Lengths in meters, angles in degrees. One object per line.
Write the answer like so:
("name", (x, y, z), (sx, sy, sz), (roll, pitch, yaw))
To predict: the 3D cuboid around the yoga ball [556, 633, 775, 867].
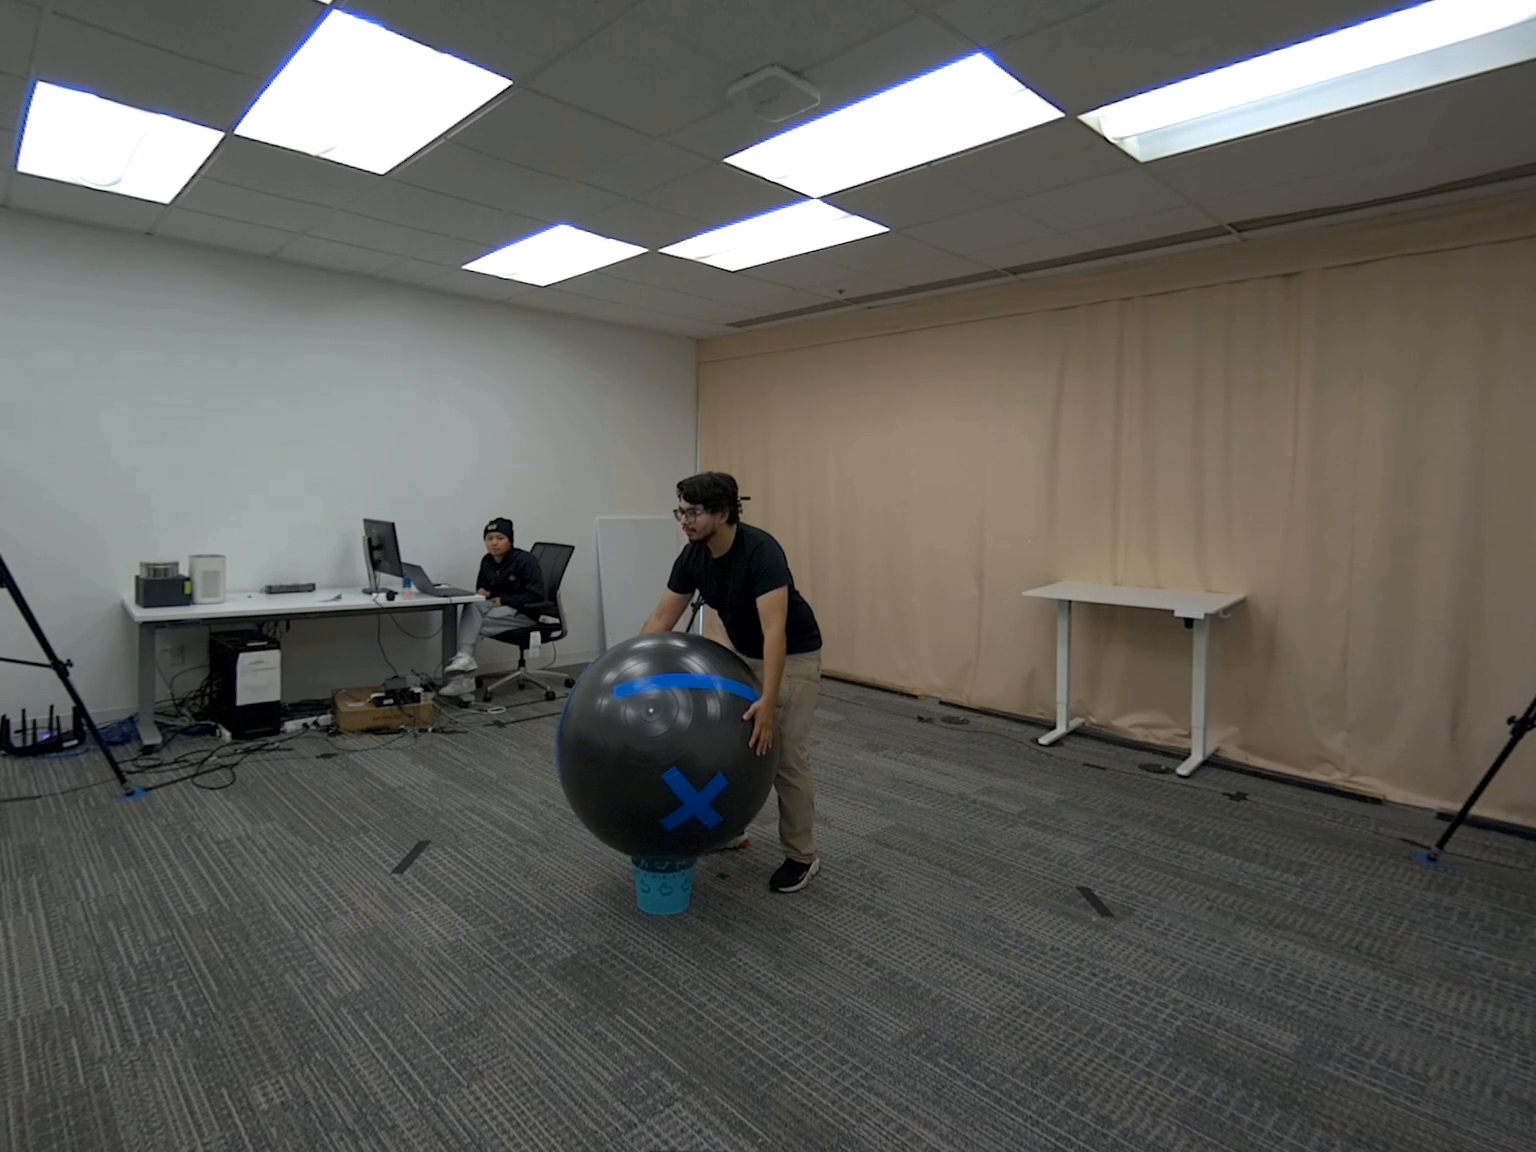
("yoga ball", (-0.343, 0.574, 2.869), (0.757, 0.756, 0.761), (1, 4, -1))
